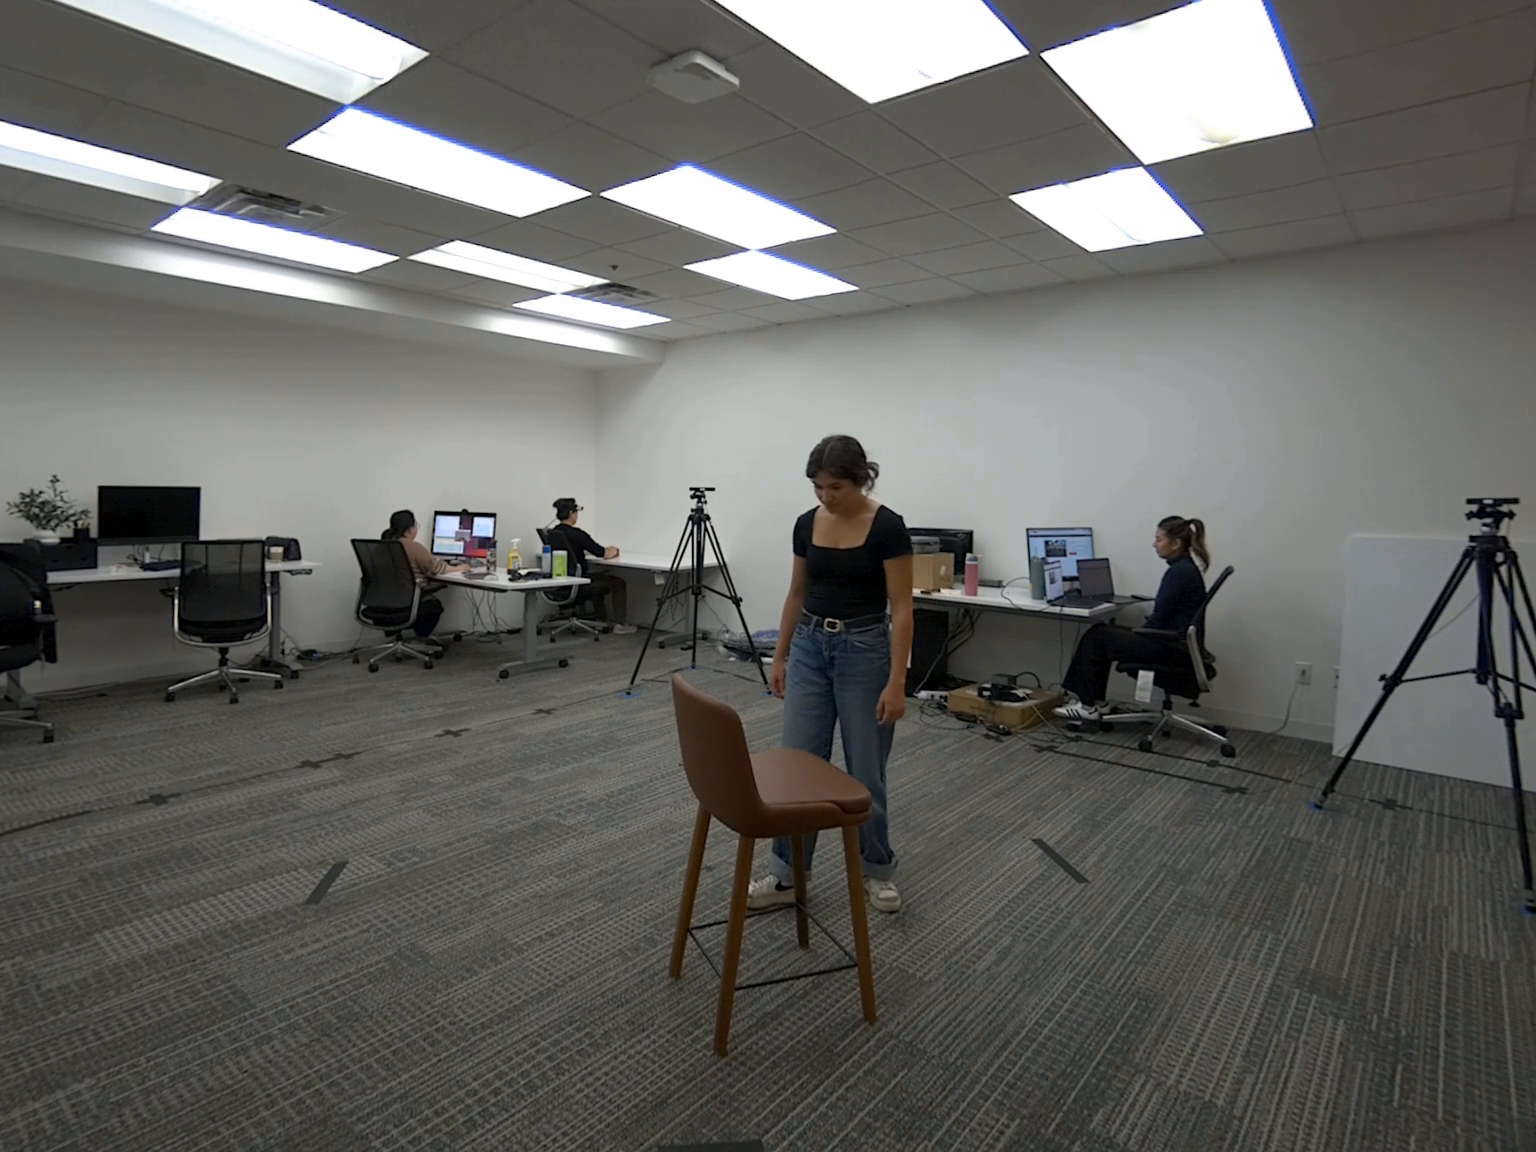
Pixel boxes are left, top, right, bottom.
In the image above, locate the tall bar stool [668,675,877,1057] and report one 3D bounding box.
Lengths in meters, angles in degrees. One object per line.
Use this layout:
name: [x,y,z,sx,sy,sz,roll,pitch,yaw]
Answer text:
tall bar stool: [-0.007,0.713,2.311,0.457,0.886,0.468,-2,5,-24]
